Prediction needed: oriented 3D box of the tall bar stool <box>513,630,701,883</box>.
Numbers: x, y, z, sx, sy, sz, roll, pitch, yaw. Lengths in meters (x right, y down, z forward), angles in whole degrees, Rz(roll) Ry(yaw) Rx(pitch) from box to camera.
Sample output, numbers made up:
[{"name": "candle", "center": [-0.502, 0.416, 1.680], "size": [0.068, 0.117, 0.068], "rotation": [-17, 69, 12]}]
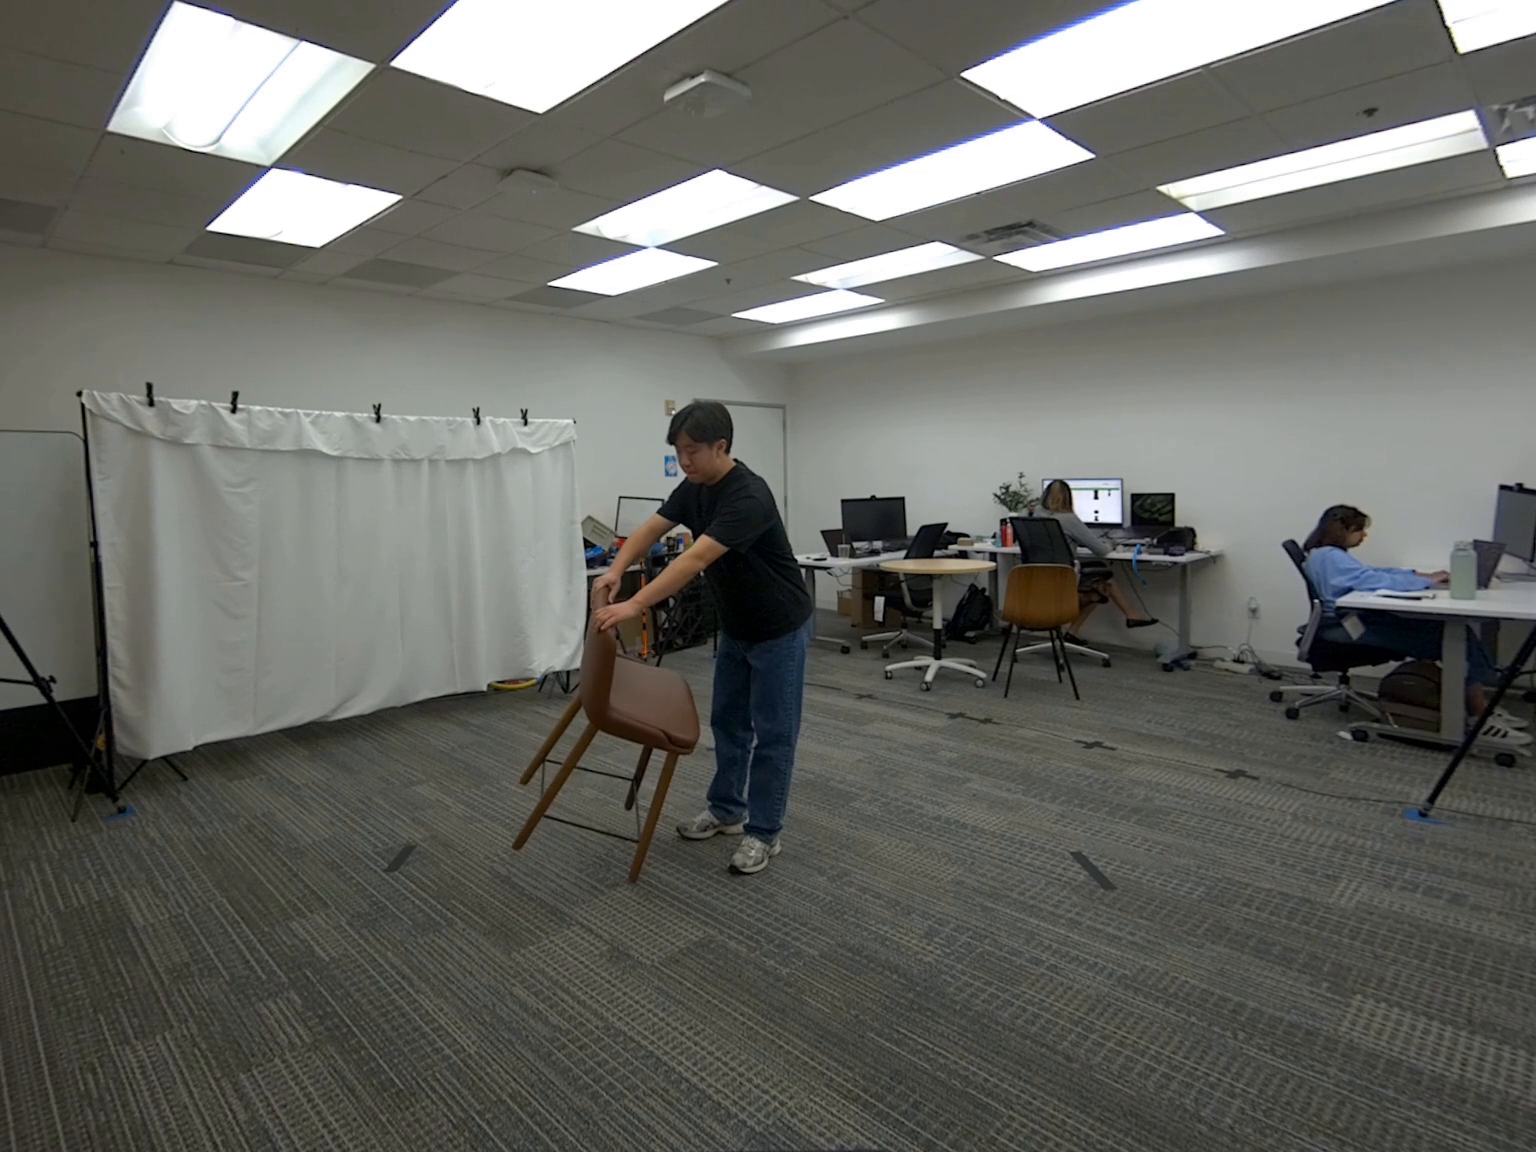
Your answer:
[{"name": "tall bar stool", "center": [-0.515, 0.539, 2.974], "size": [0.458, 0.883, 0.469], "rotation": [19, 17, -18]}]
